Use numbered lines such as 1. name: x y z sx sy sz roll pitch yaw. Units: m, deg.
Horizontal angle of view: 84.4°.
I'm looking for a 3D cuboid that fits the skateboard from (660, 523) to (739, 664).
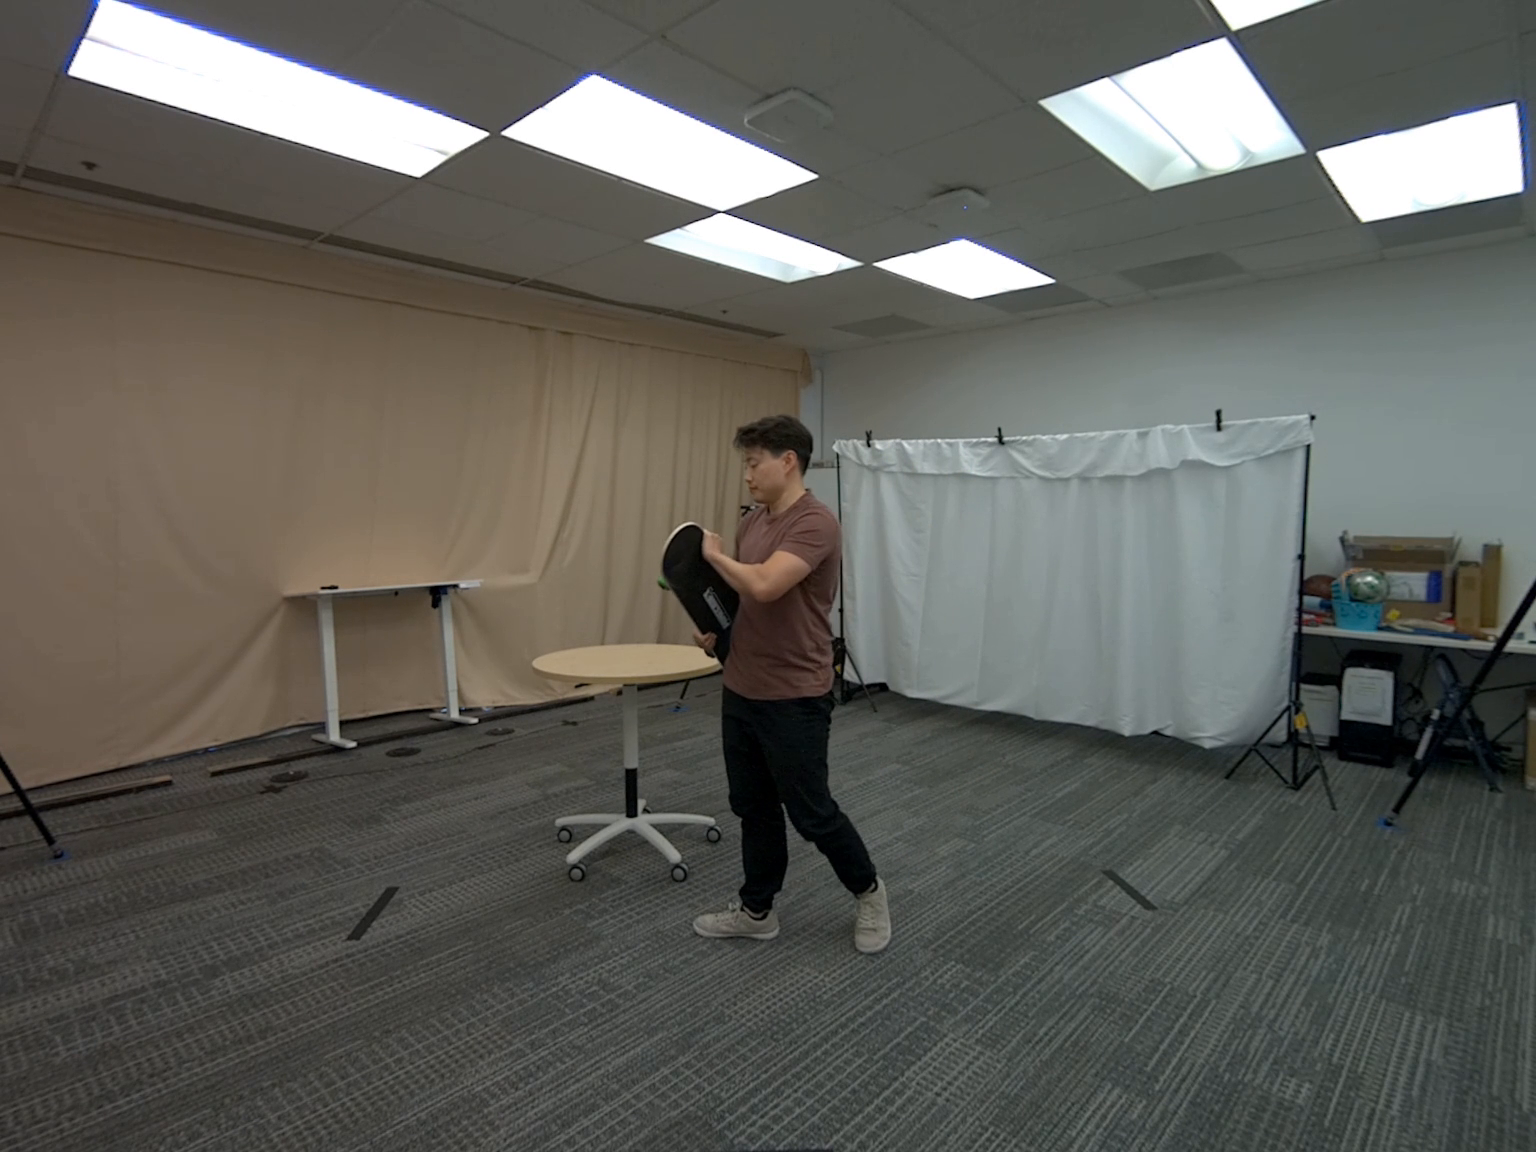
1. skateboard: -0.185 0.103 2.732 0.114 0.193 0.760 24 -25 38
